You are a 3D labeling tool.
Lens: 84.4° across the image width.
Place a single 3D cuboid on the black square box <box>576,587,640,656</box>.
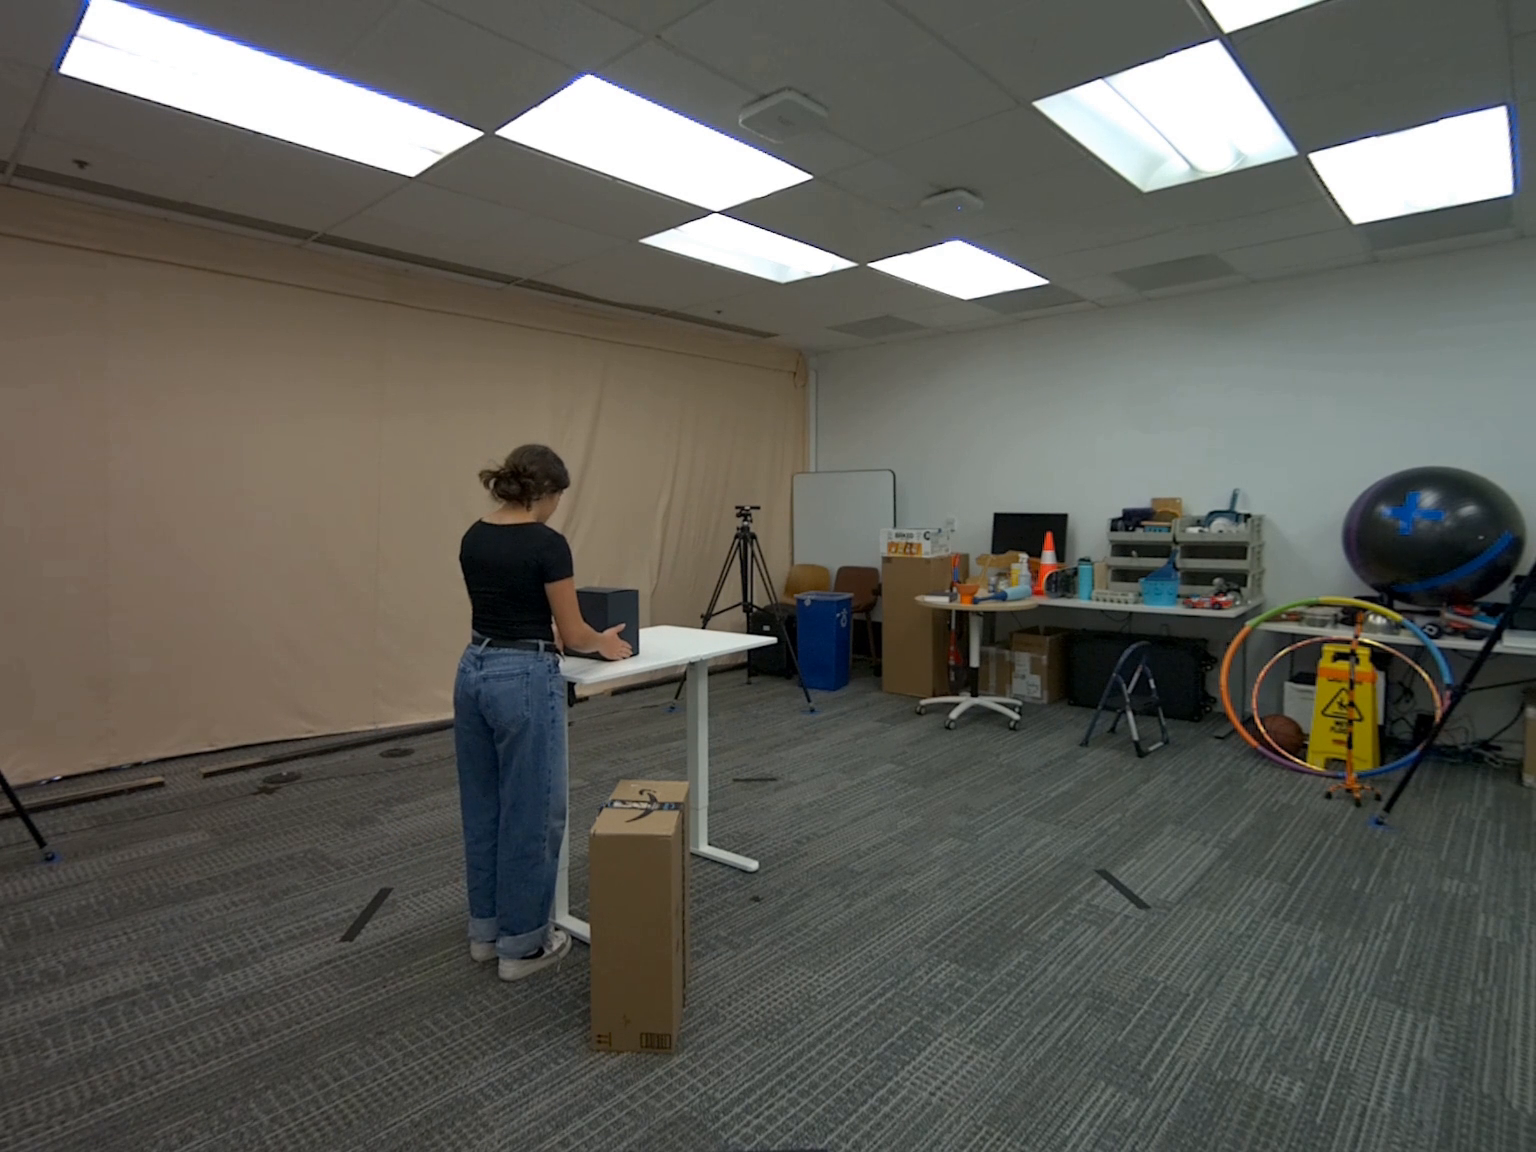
[{"bbox_3d":[-0.571,0.159,2.874,0.223,0.227,0.151,1,2,31],"label":"black square box"}]
